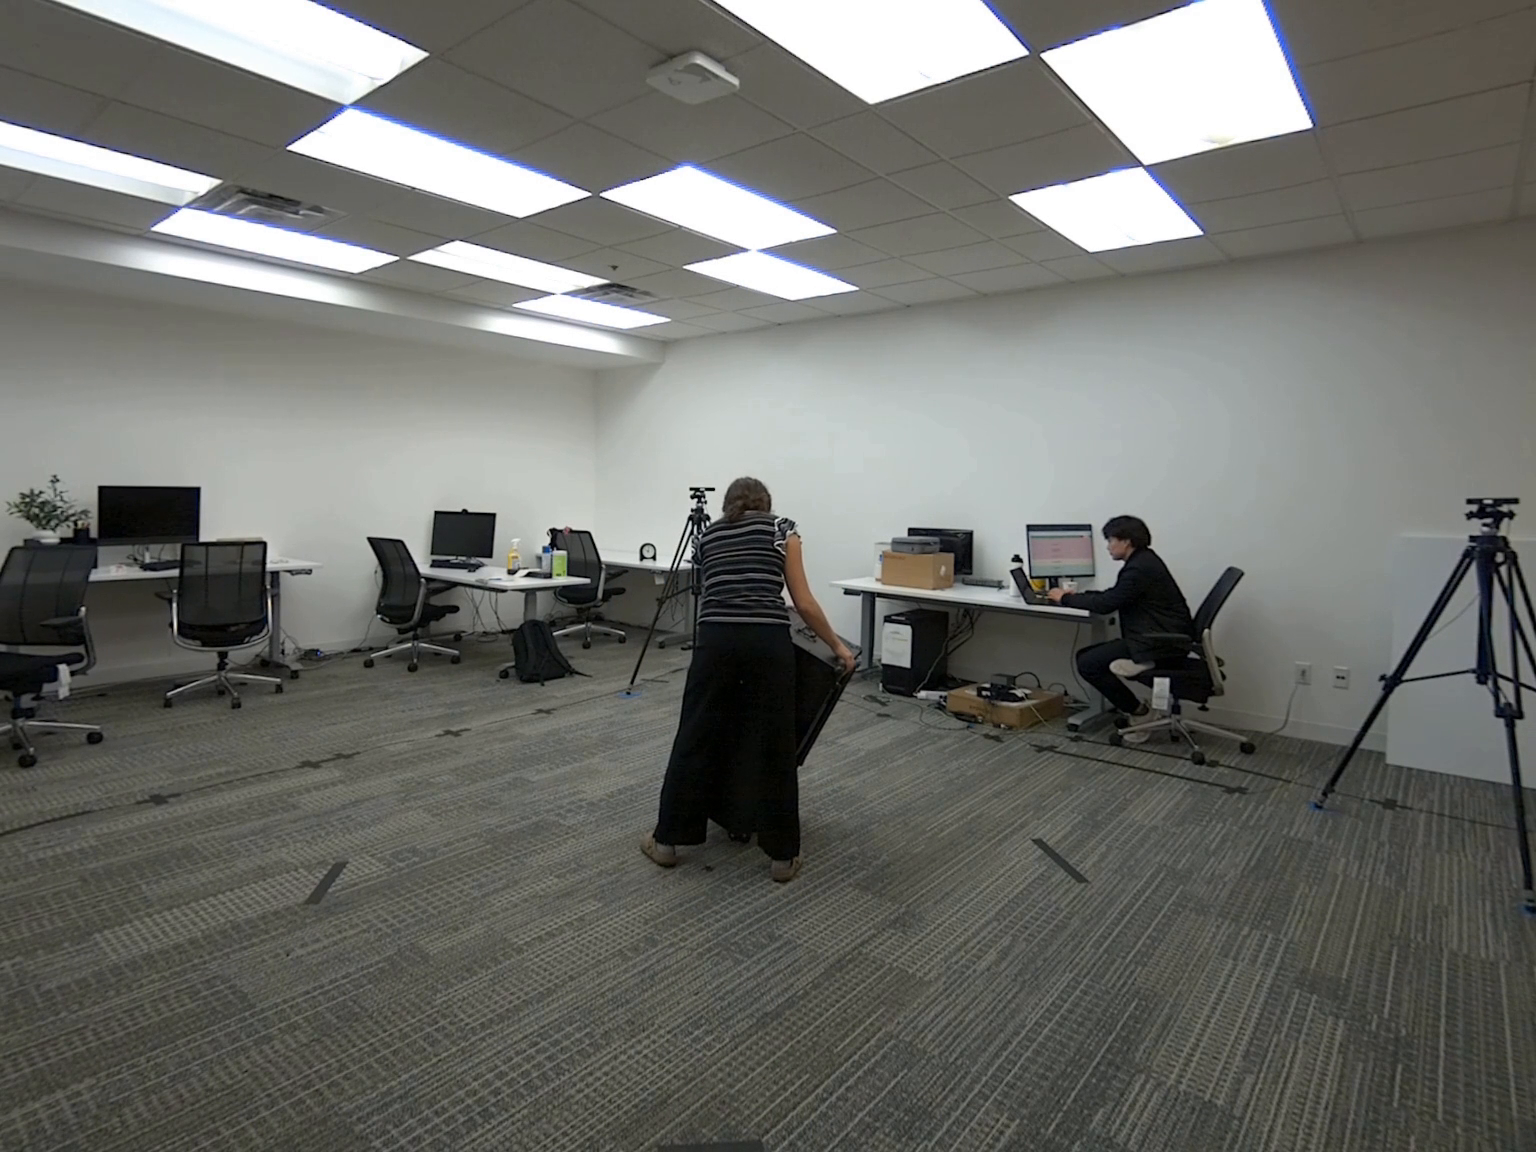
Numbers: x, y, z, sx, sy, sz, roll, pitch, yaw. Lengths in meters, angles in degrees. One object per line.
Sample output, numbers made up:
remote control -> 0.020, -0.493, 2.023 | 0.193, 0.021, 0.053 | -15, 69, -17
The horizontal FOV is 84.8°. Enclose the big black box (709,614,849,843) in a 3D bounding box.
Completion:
big black box -> -0.005, 0.608, 3.453 | 0.404, 0.858, 0.514 | 31, 12, 12
